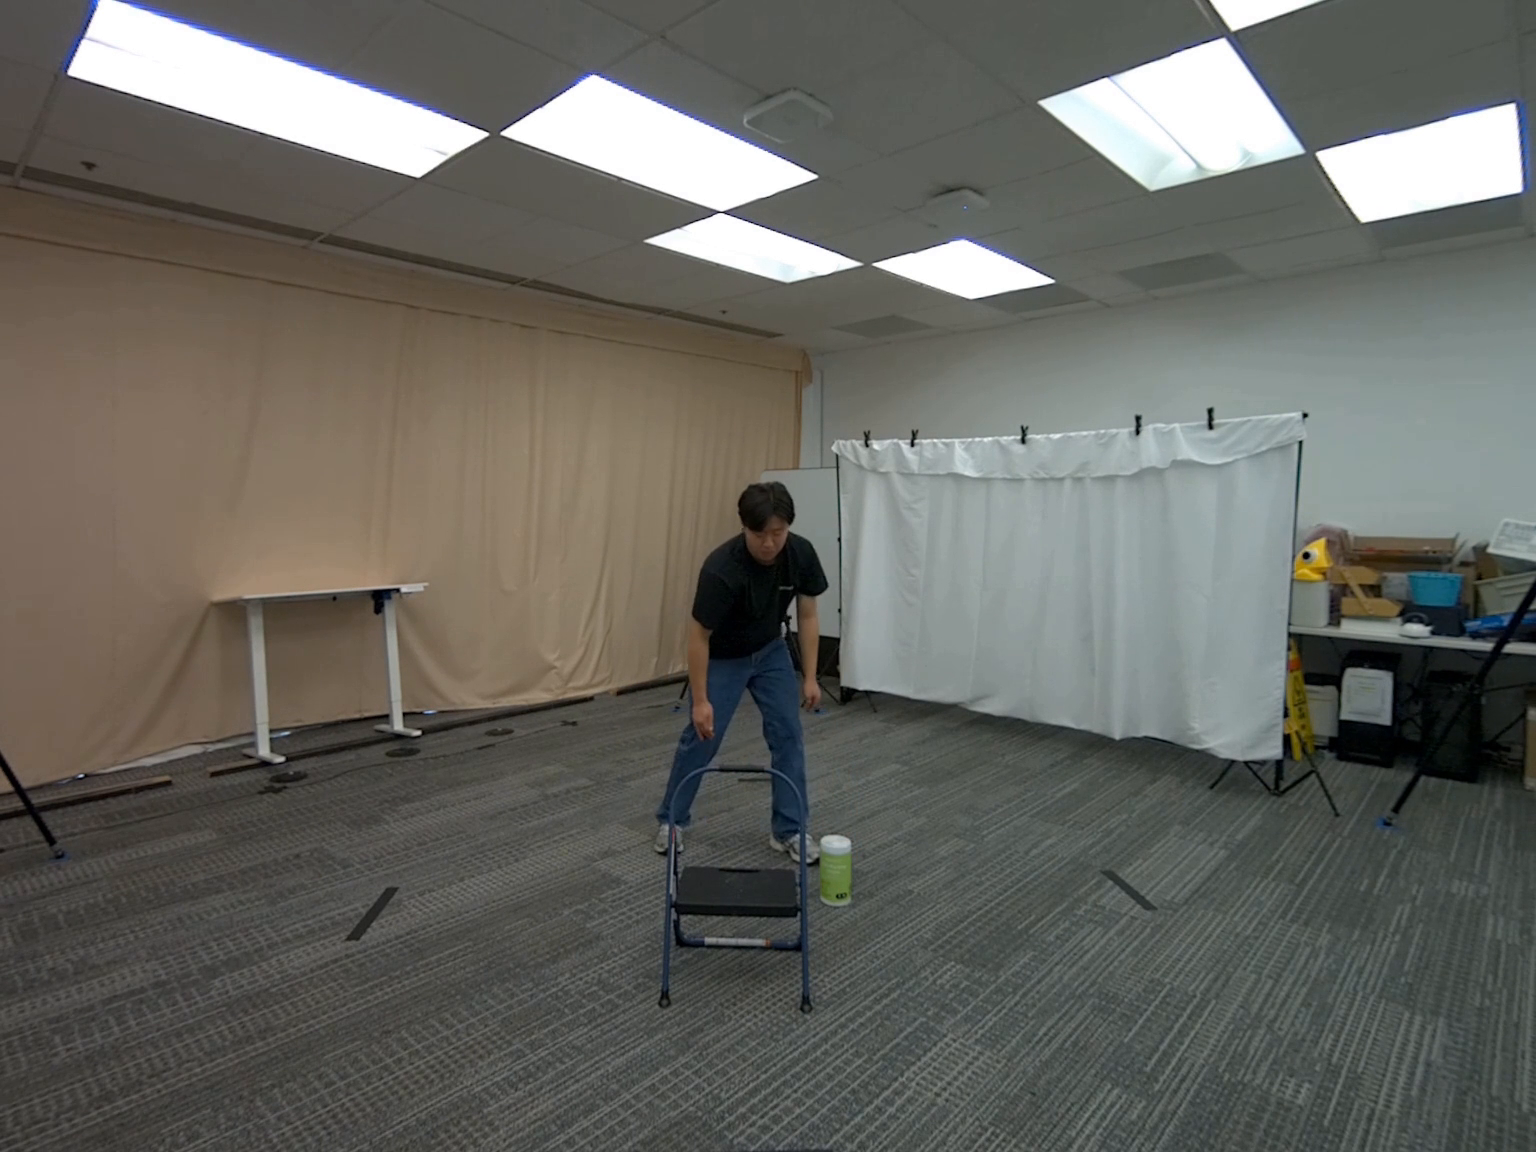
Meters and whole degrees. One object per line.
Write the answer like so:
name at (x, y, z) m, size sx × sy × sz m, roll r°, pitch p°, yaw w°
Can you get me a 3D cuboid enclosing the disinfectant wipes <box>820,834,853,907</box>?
disinfectant wipes at (0.241, 1.038, 2.964) m, size 0.118 × 0.217 × 0.118 m, roll -1°, pitch 4°, yaw -2°
